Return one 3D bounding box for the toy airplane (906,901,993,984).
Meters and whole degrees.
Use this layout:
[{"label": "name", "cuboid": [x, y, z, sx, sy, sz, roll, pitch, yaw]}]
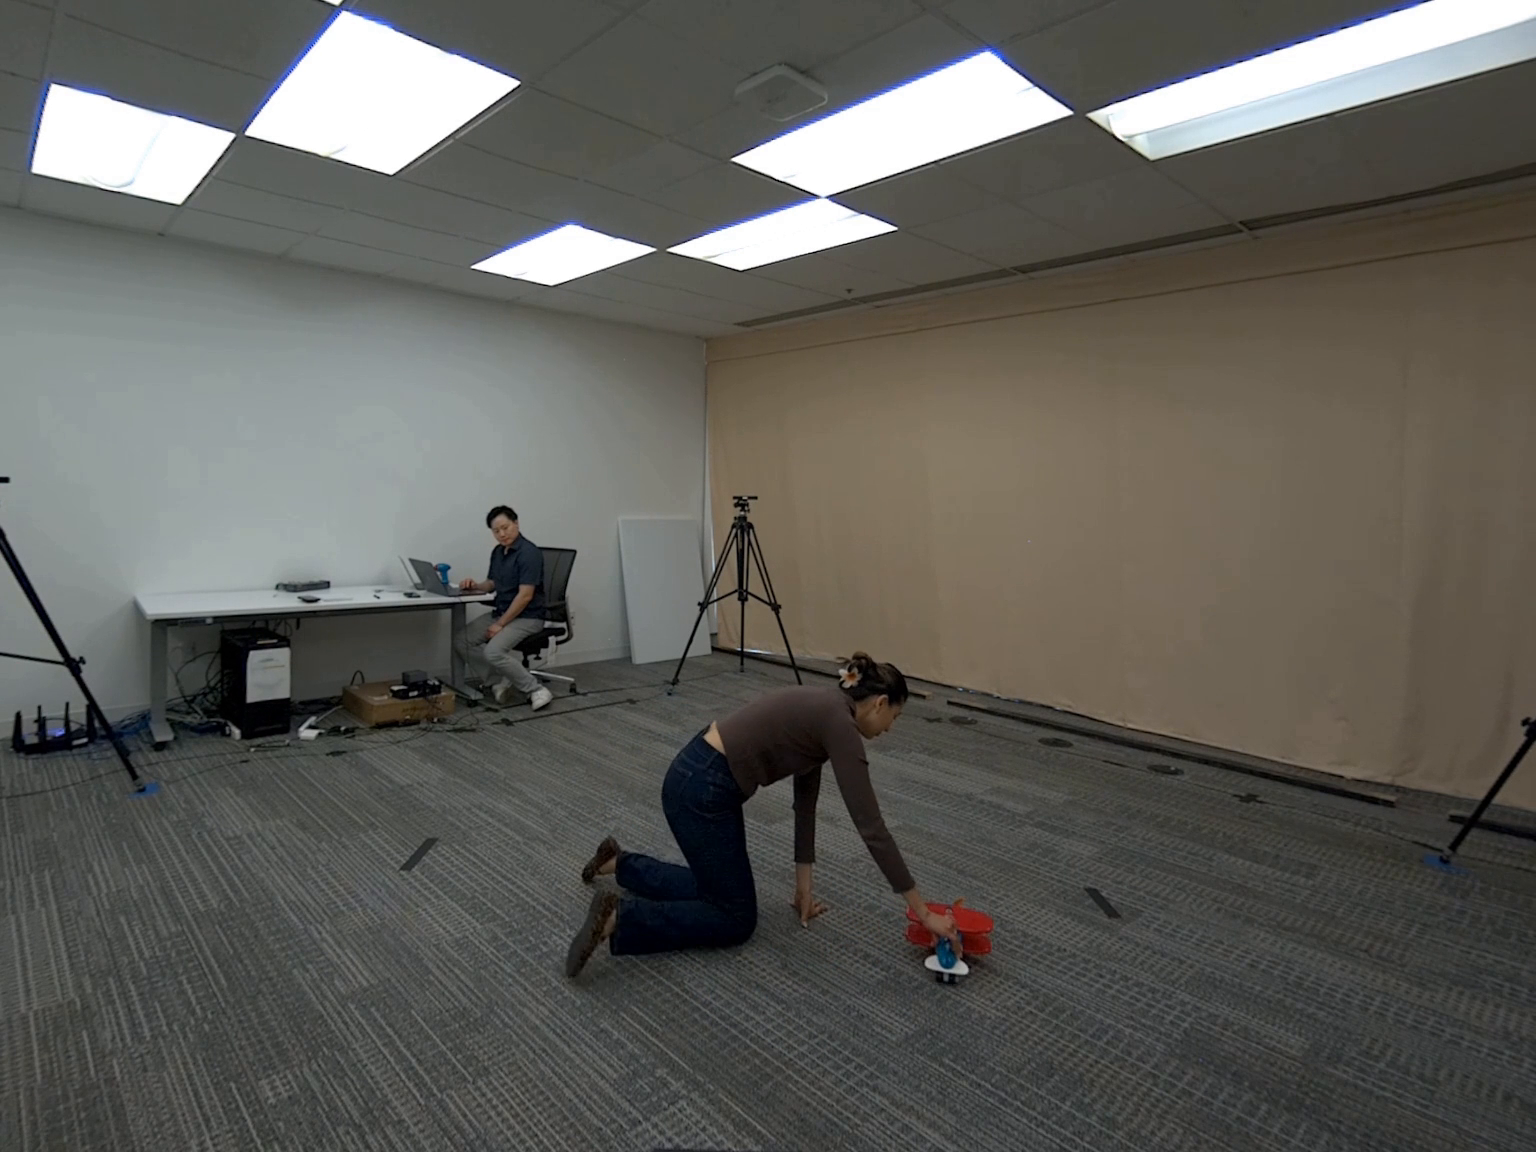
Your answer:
[{"label": "toy airplane", "cuboid": [0.554, 1.103, 2.521, 0.248, 0.156, 0.263, -1, 6, -15]}]
